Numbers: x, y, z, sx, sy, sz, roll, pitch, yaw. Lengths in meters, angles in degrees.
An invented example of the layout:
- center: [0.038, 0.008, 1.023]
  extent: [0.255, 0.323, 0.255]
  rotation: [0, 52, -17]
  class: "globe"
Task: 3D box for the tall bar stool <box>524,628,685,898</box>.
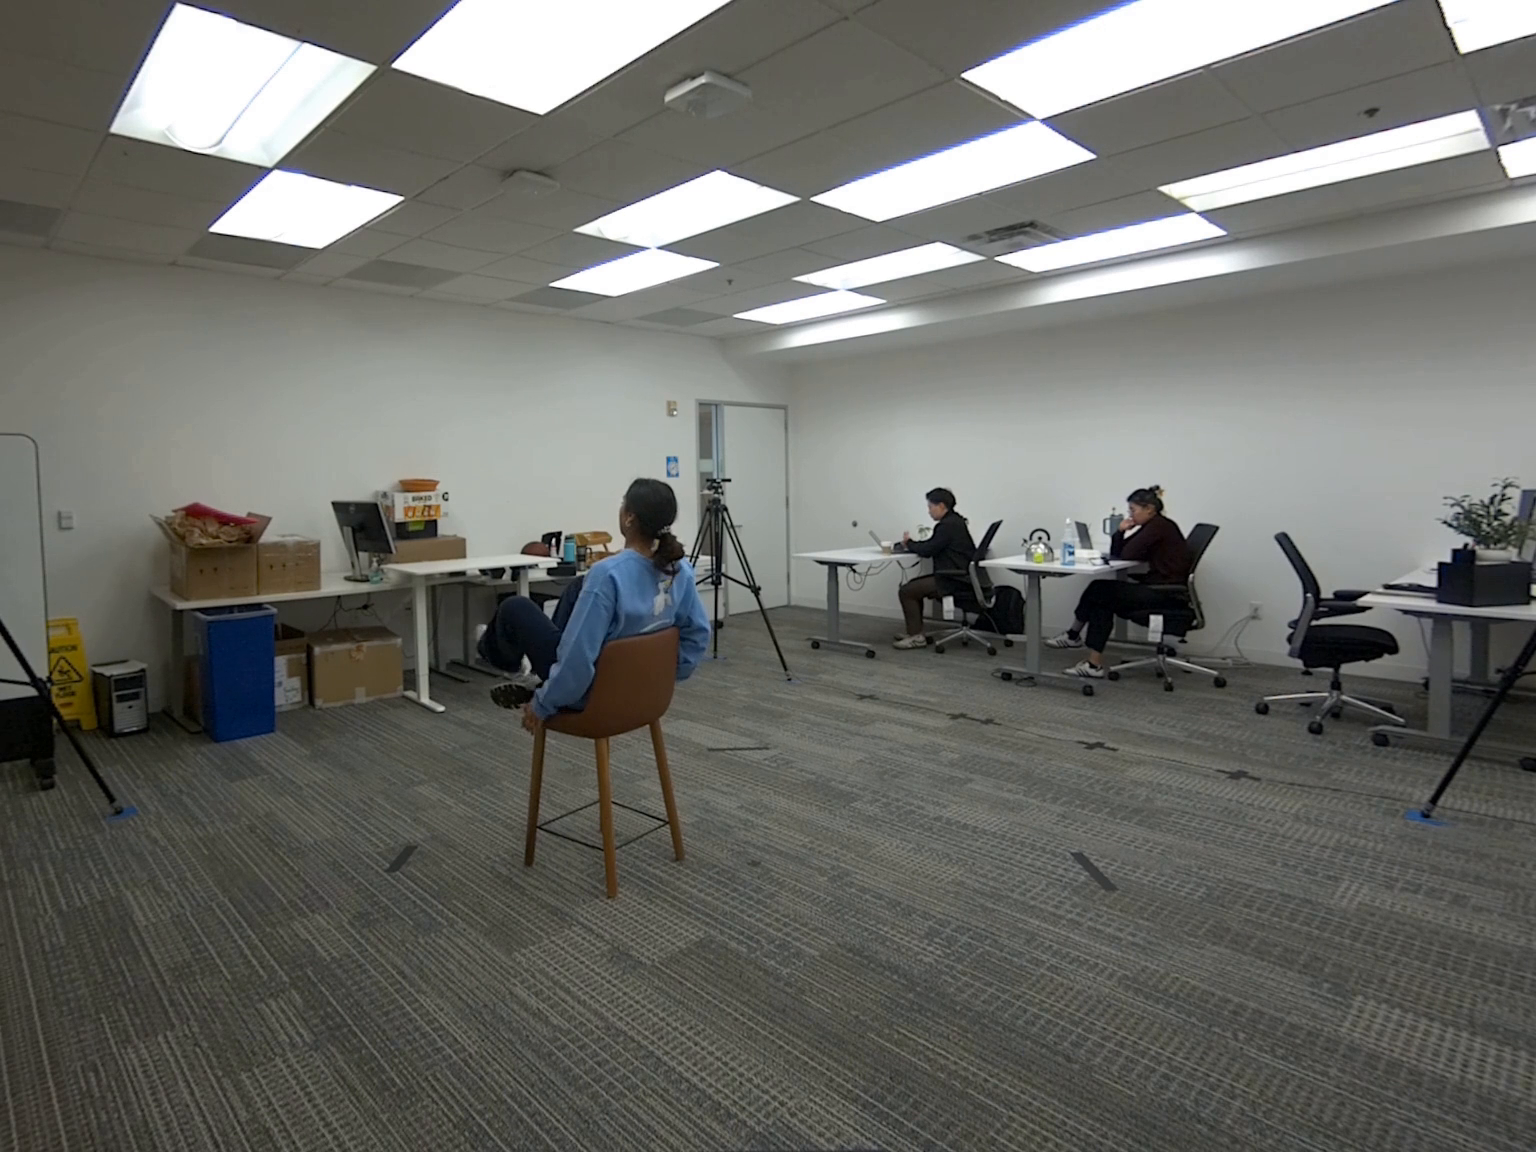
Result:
- center: [-0.592, 0.618, 3.111]
  extent: [0.482, 0.885, 0.445]
  rotation: [5, 7, 37]
  class: "tall bar stool"
